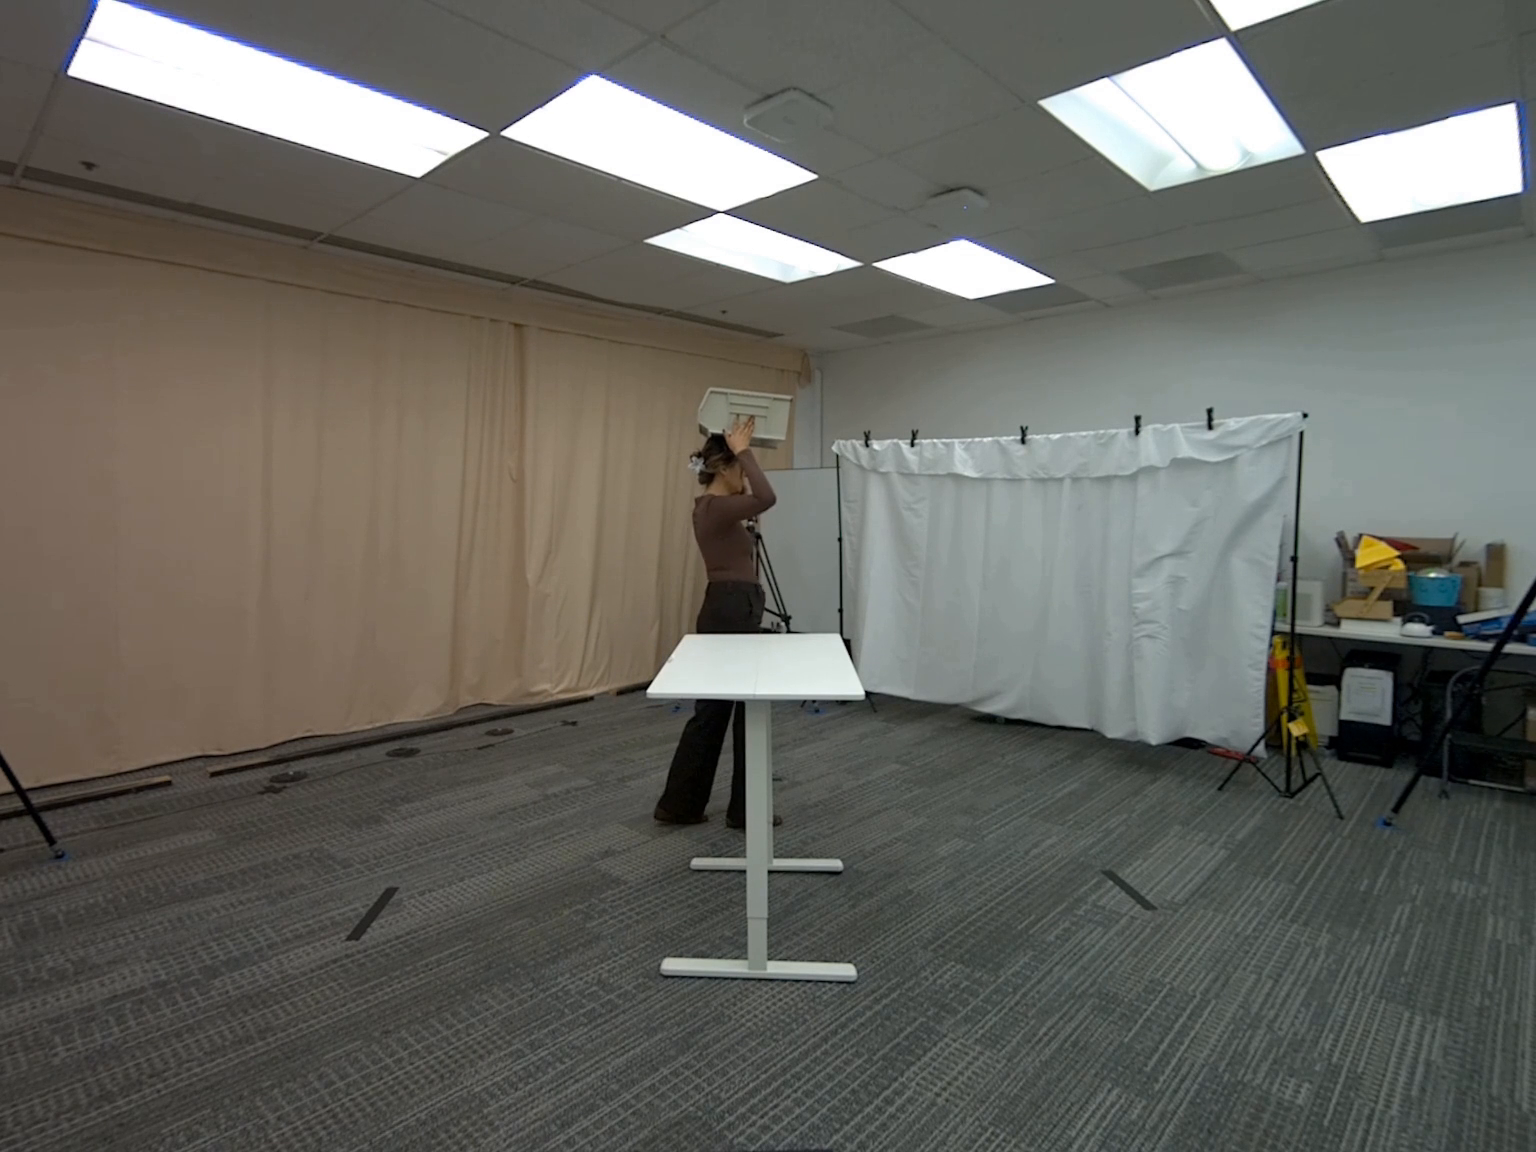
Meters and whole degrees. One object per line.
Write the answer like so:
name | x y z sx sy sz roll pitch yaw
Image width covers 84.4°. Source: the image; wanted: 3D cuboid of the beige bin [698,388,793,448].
beige bin | -0.106 -0.683 3.620 0.377 0.188 0.424 6 7 -2
